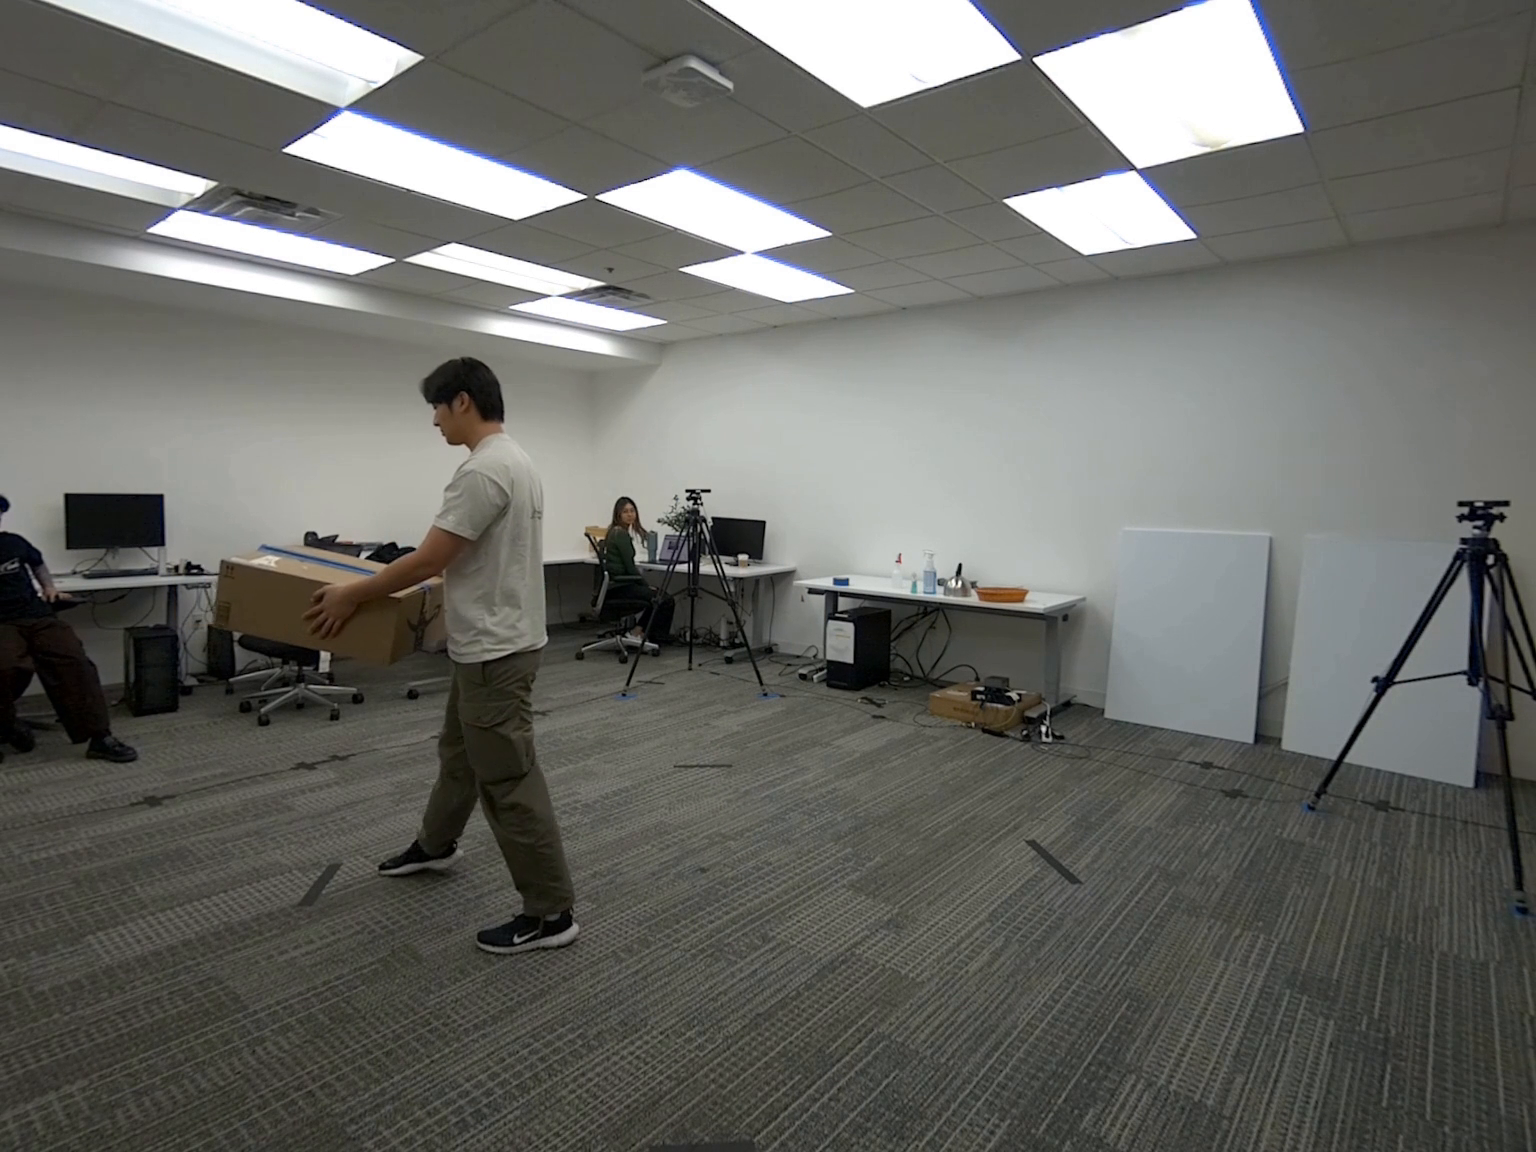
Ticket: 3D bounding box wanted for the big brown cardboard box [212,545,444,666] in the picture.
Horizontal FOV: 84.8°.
[{"bbox_3d":[-1.410,0.073,2.756,0.590,0.232,0.419,12,8,1],"label":"big brown cardboard box"}]
